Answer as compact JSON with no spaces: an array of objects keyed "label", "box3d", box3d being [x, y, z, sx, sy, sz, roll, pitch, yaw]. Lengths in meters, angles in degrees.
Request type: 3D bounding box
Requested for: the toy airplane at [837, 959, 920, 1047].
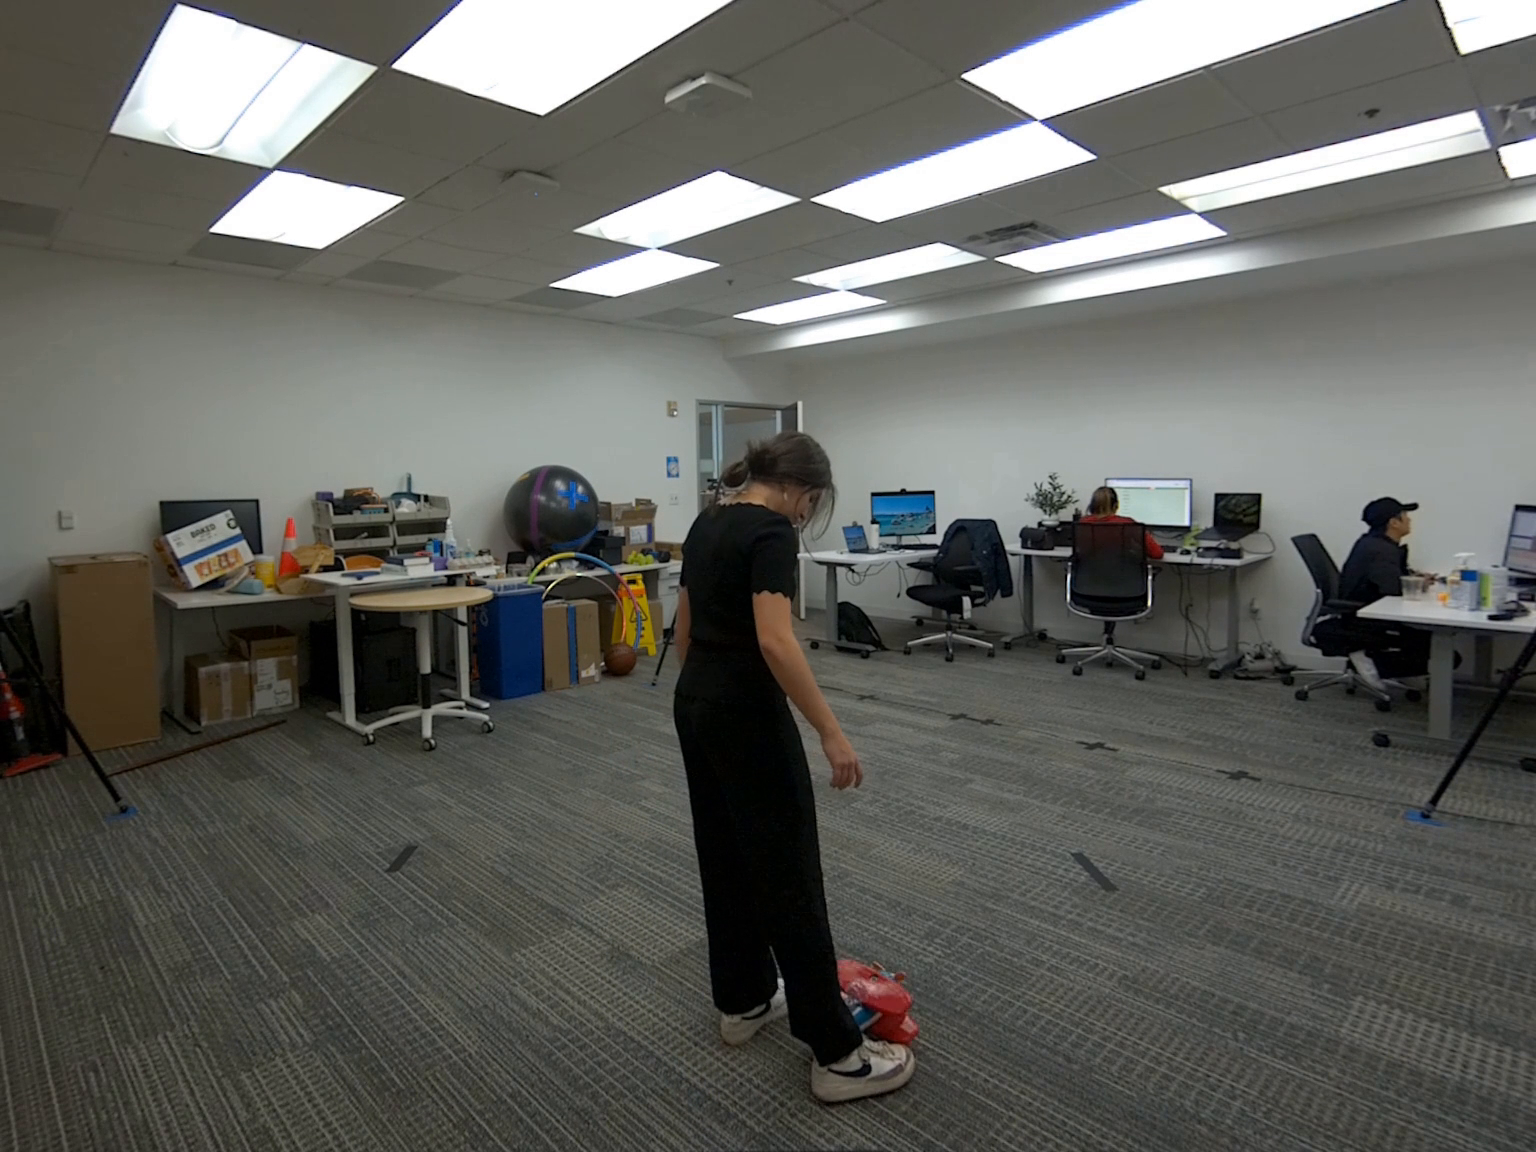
[{"label":"toy airplane","box3d":[0.244,1.078,2.094,0.256,0.156,0.254,-1,4,24]}]
